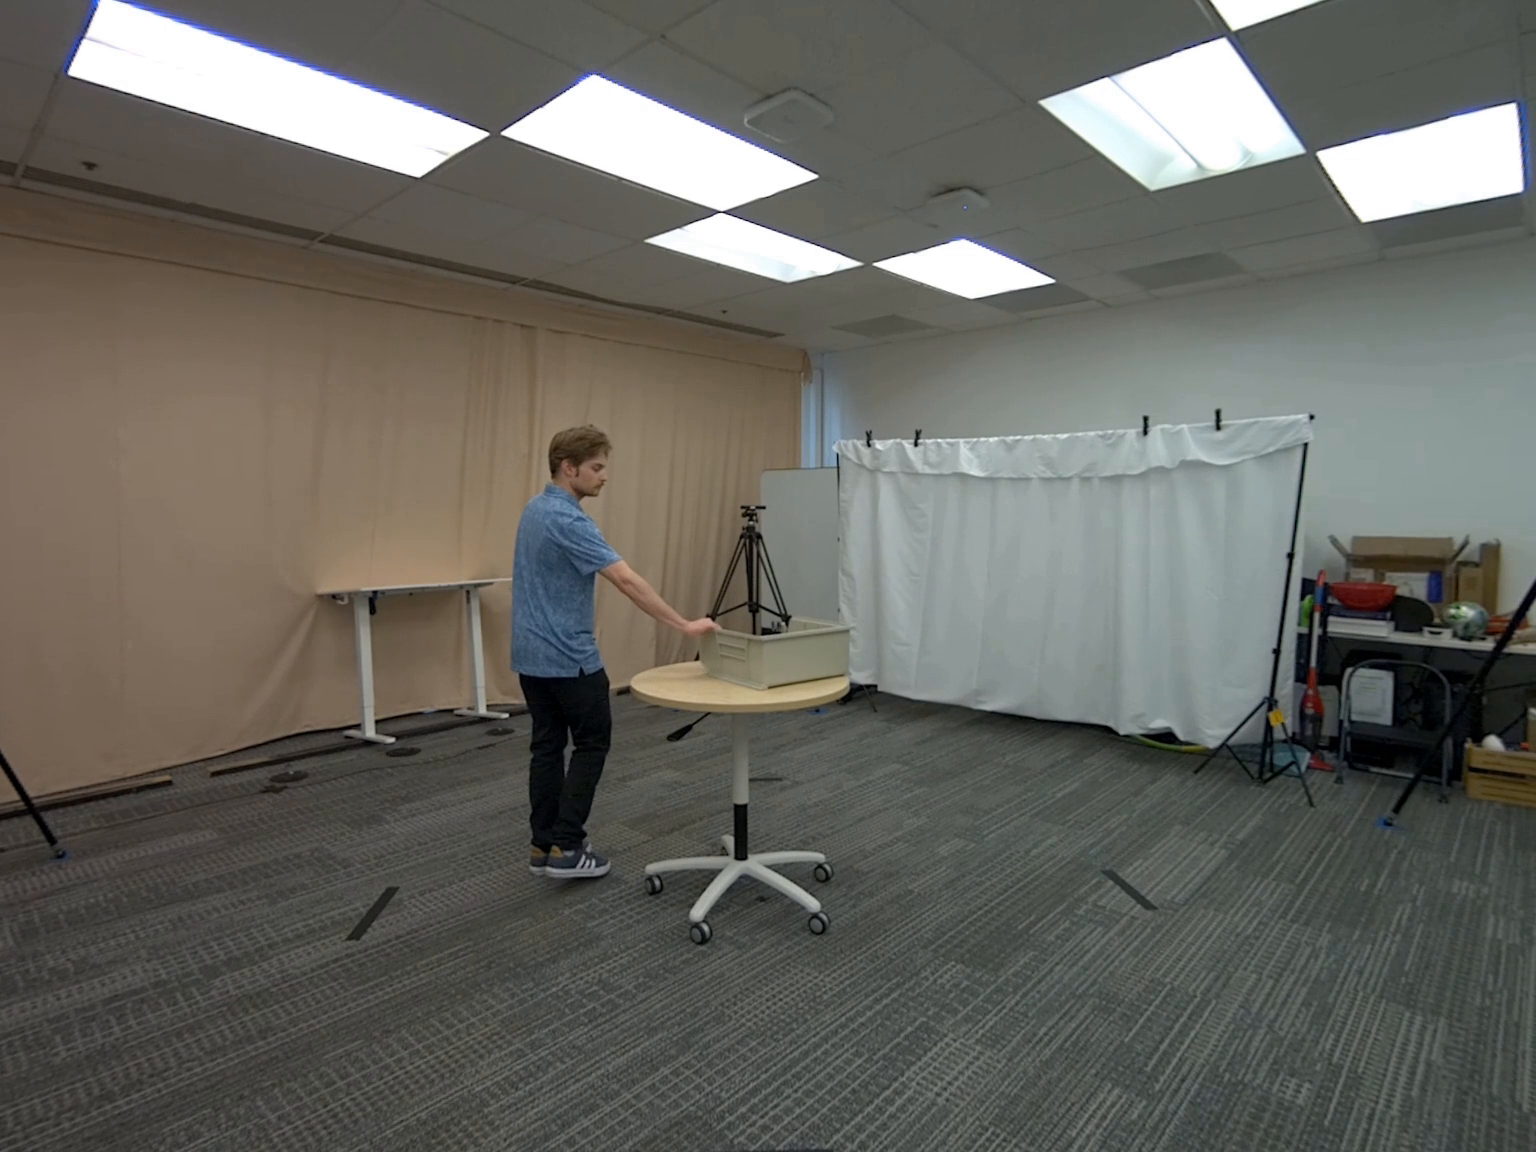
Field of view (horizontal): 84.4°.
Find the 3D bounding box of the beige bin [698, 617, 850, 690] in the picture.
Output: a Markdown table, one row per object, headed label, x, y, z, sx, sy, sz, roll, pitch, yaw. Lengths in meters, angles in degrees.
| label | x | y | z | sx | sy | sz | roll | pitch | yaw |
| --- | --- | --- | --- | --- | --- | --- | --- | --- | --- |
| beige bin | 0.037 | 0.263 | 3.011 | 0.410 | 0.188 | 0.389 | -4 | 7 | -34 |
